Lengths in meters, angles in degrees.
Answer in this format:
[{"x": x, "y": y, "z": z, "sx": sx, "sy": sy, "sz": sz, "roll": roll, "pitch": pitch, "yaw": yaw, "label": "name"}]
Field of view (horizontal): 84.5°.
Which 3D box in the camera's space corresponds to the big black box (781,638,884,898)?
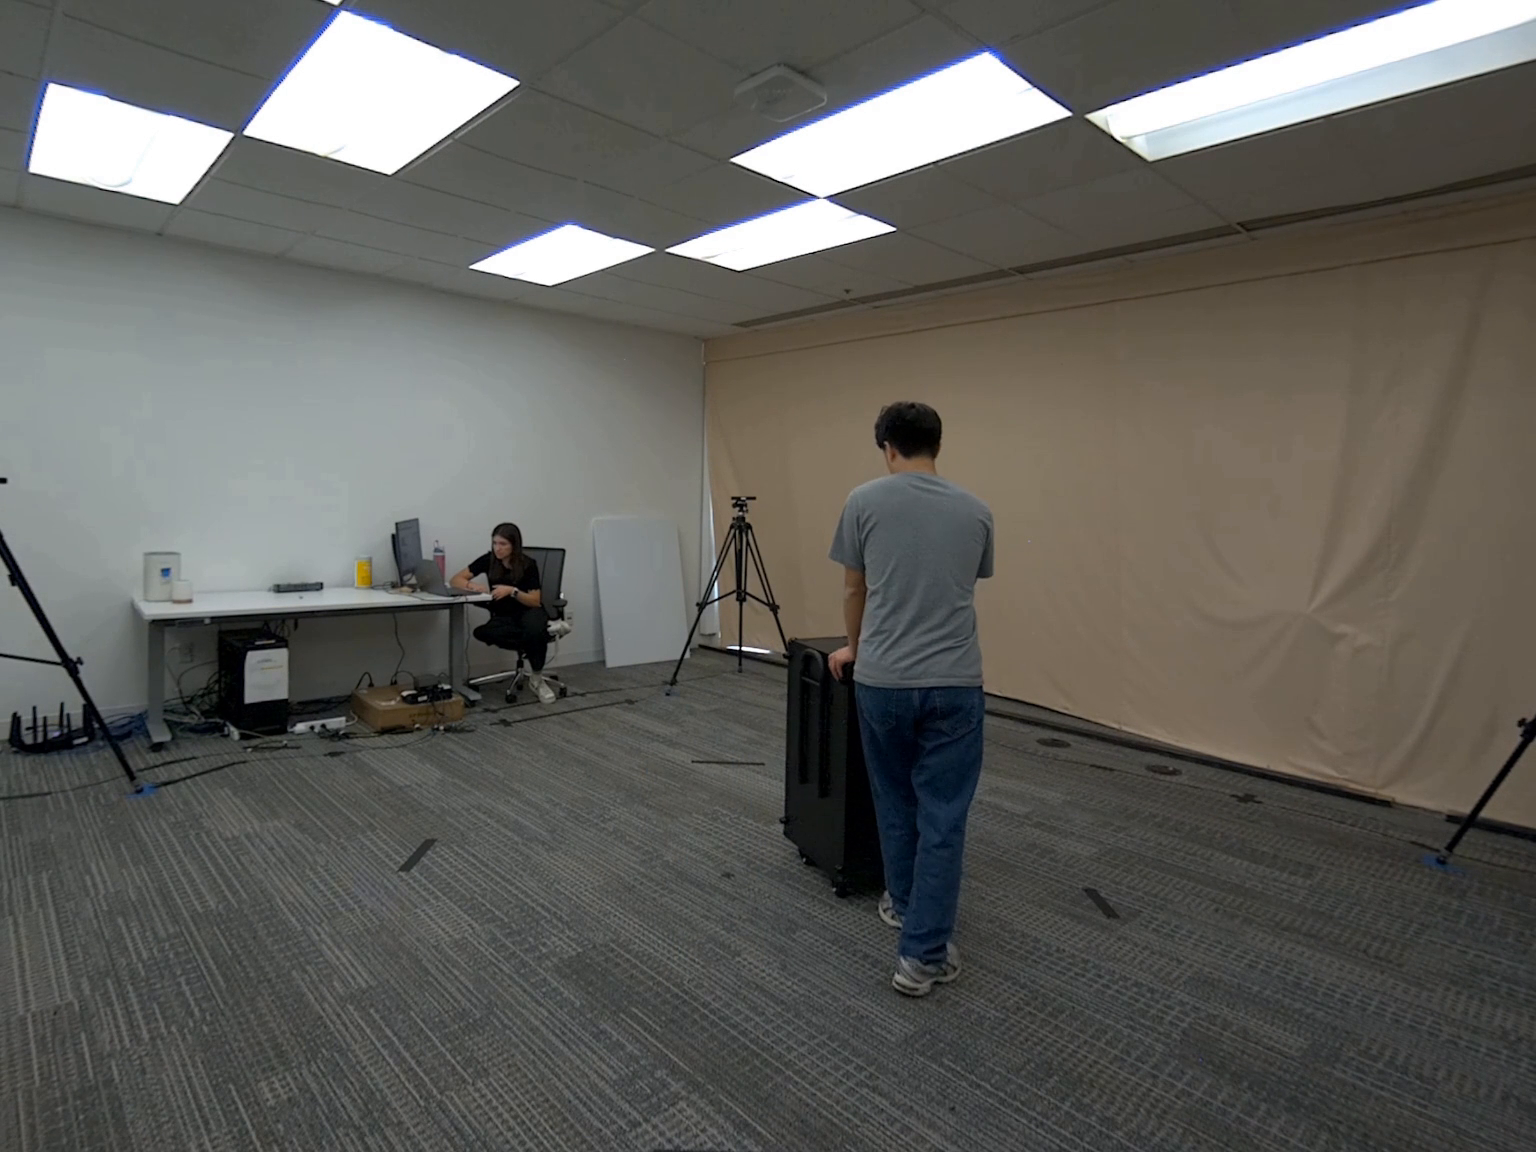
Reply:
[{"x": 0.315, "y": 0.691, "z": 3.131, "sx": 0.390, "sy": 0.859, "sz": 0.531, "roll": -1, "pitch": 4, "yaw": -23, "label": "big black box"}]
